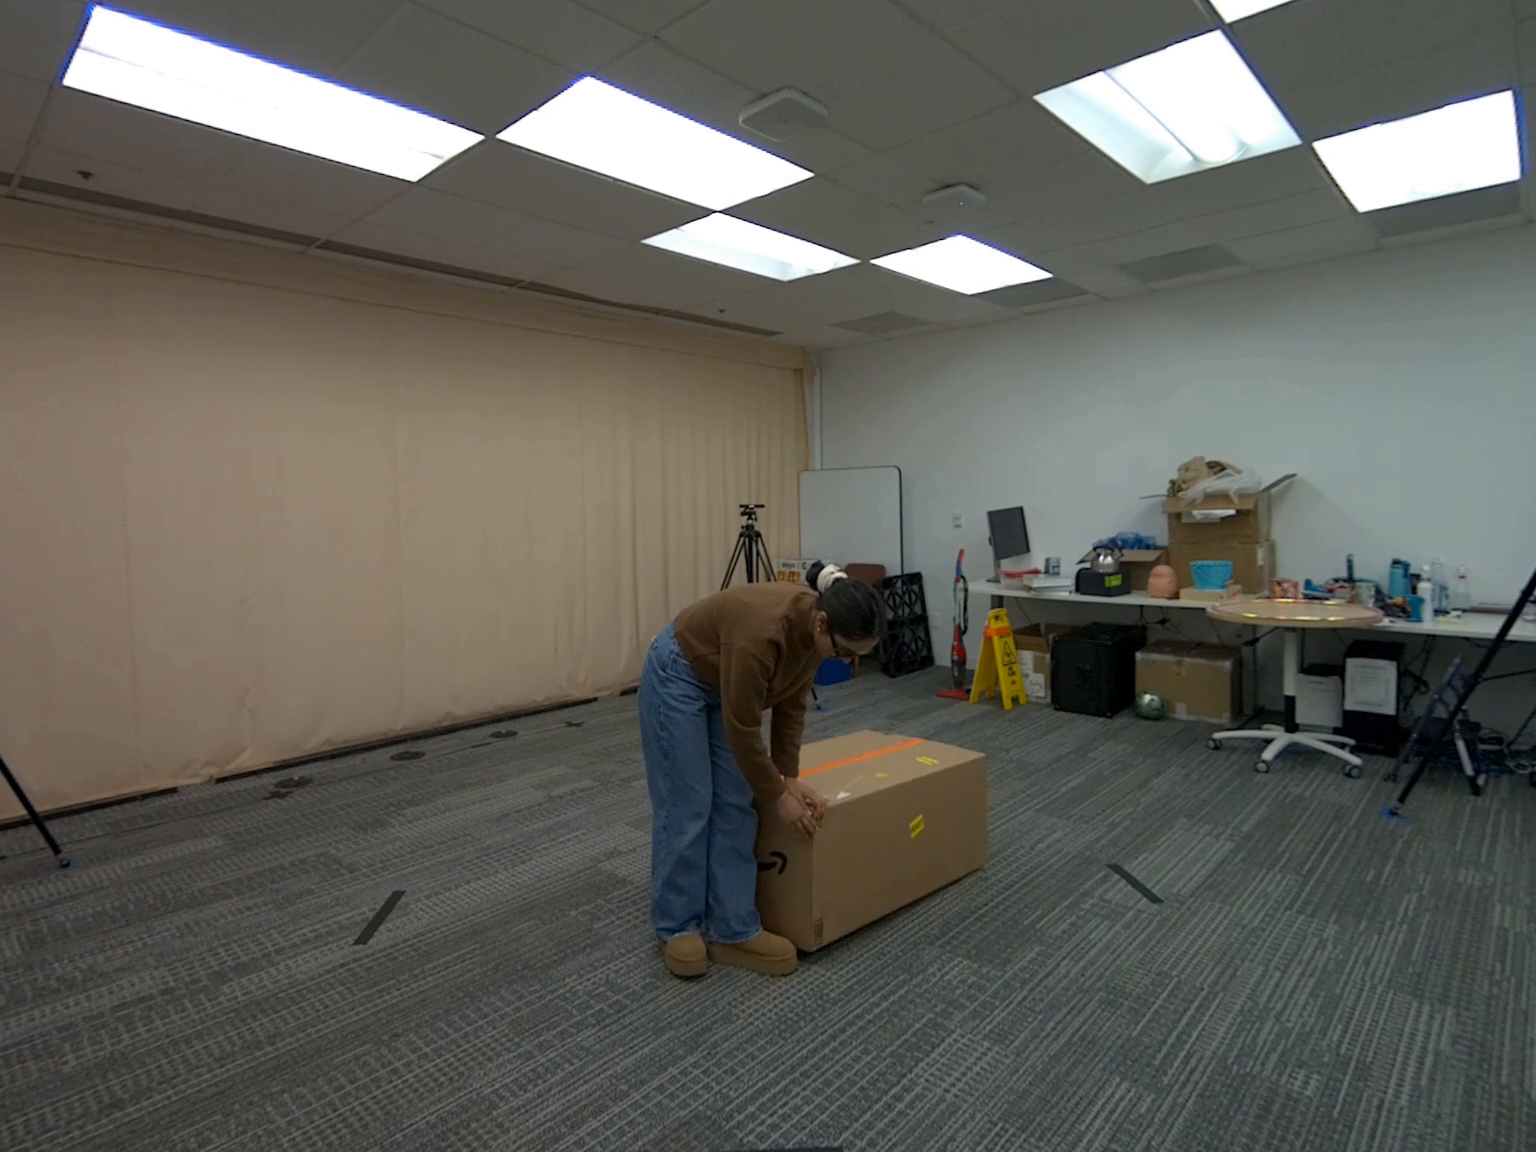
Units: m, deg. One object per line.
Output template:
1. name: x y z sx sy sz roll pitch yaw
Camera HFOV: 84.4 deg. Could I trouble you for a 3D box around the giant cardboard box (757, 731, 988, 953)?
1. giant cardboard box: 0.280 0.892 3.057 0.995 0.446 0.603 -3 2 -45
